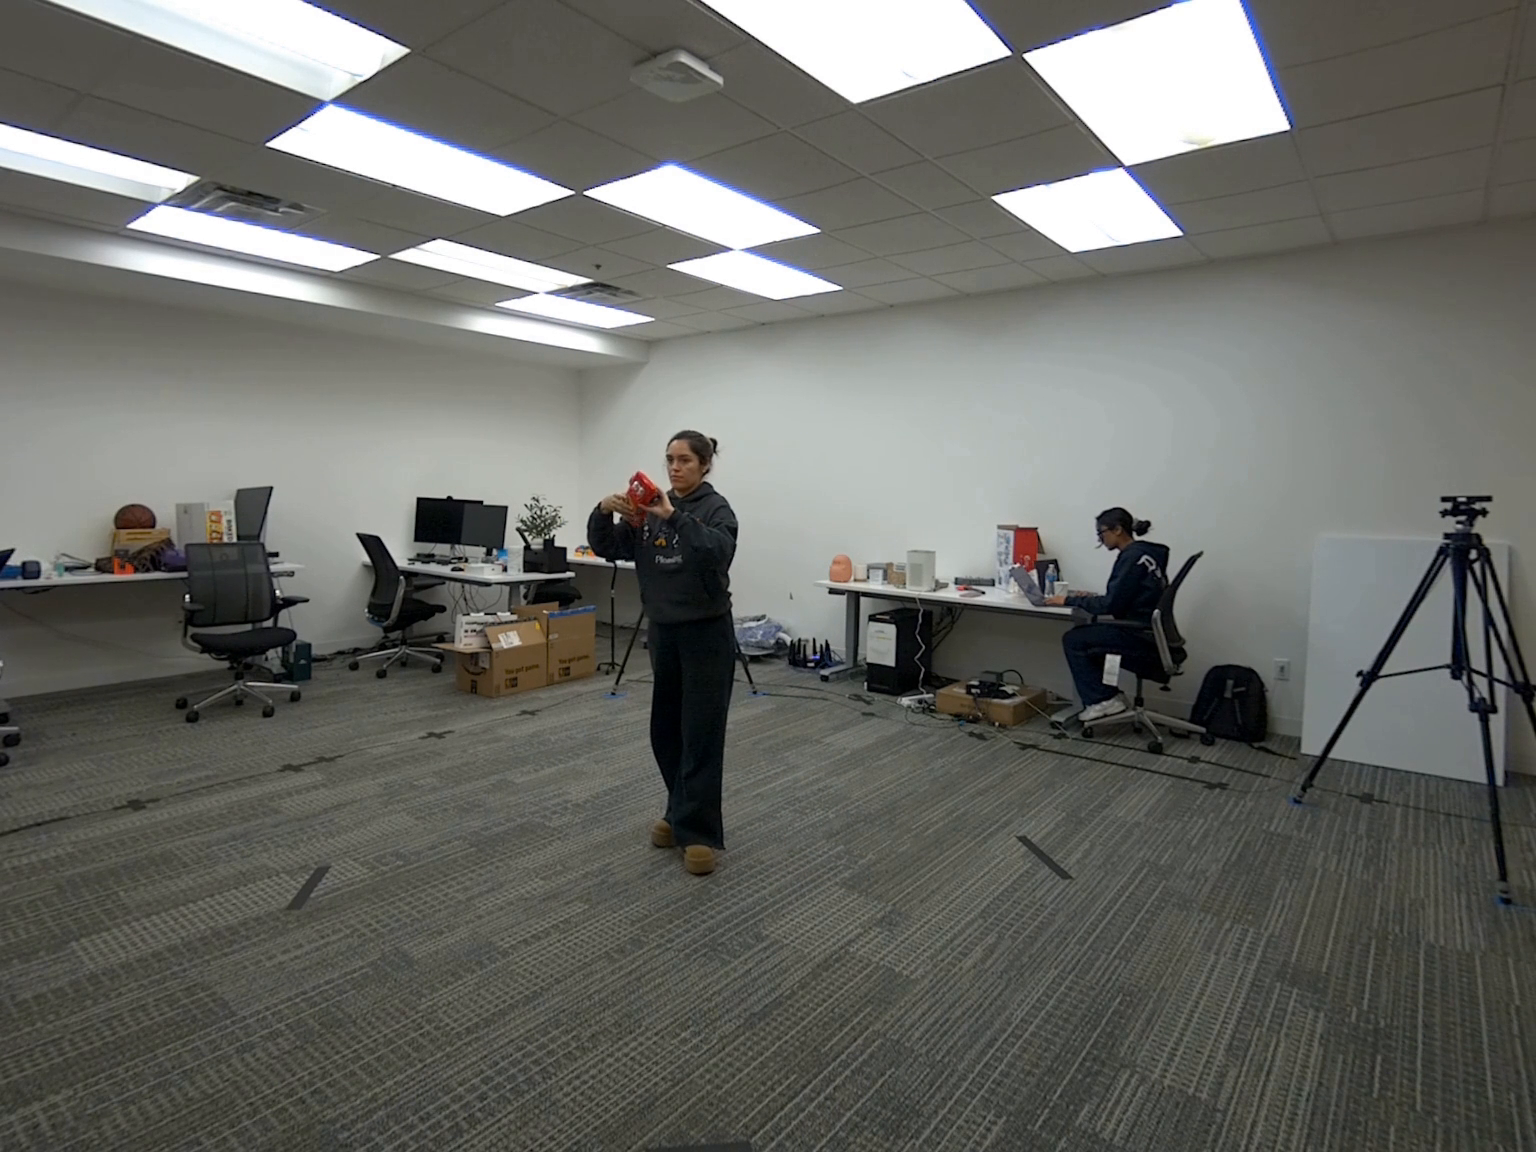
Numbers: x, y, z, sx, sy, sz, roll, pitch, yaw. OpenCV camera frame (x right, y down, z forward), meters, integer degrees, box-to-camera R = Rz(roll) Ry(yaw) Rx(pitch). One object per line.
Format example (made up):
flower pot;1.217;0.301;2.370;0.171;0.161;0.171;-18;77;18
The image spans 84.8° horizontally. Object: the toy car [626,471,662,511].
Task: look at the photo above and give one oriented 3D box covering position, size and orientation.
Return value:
toy car;-0.468;-0.289;3.064;0.082;0.133;0.251;-35;-14;-26
